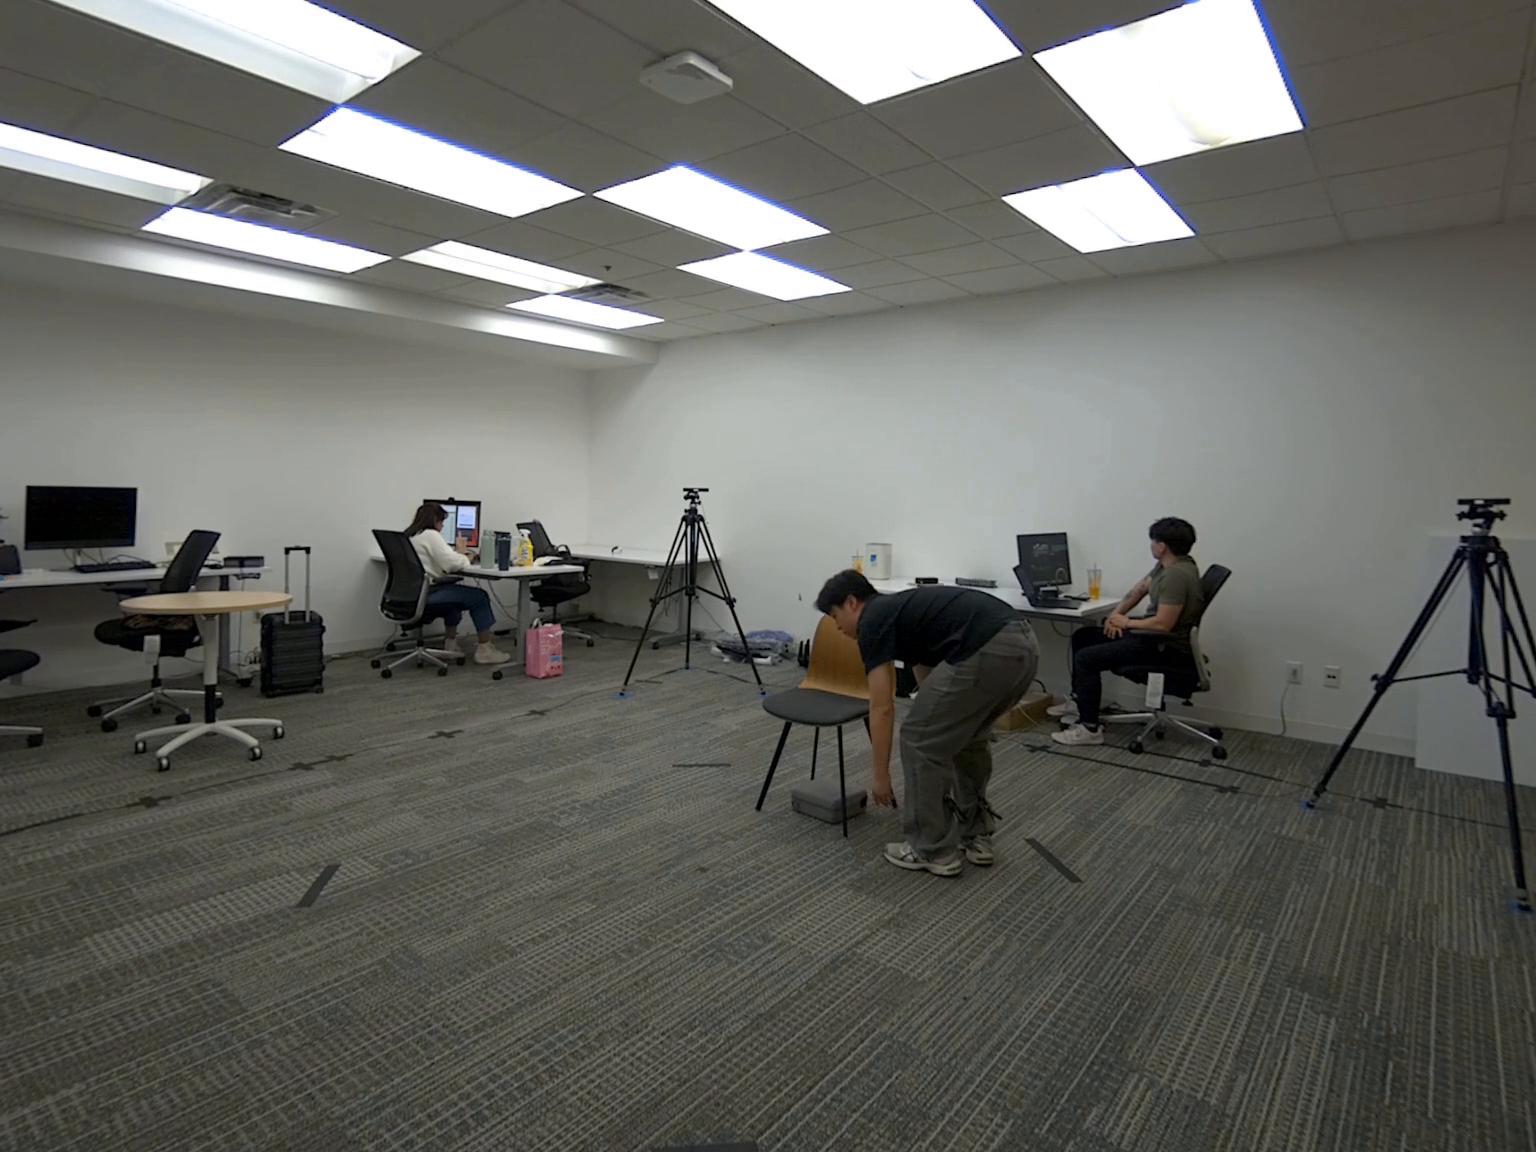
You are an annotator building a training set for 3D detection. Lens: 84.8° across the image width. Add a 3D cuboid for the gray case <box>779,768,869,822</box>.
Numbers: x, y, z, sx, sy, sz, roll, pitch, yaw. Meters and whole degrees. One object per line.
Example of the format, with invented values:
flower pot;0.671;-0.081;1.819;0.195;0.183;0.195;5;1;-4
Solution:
gray case;0.245;0.959;3.716;0.297;0.103;0.255;6;6;45
